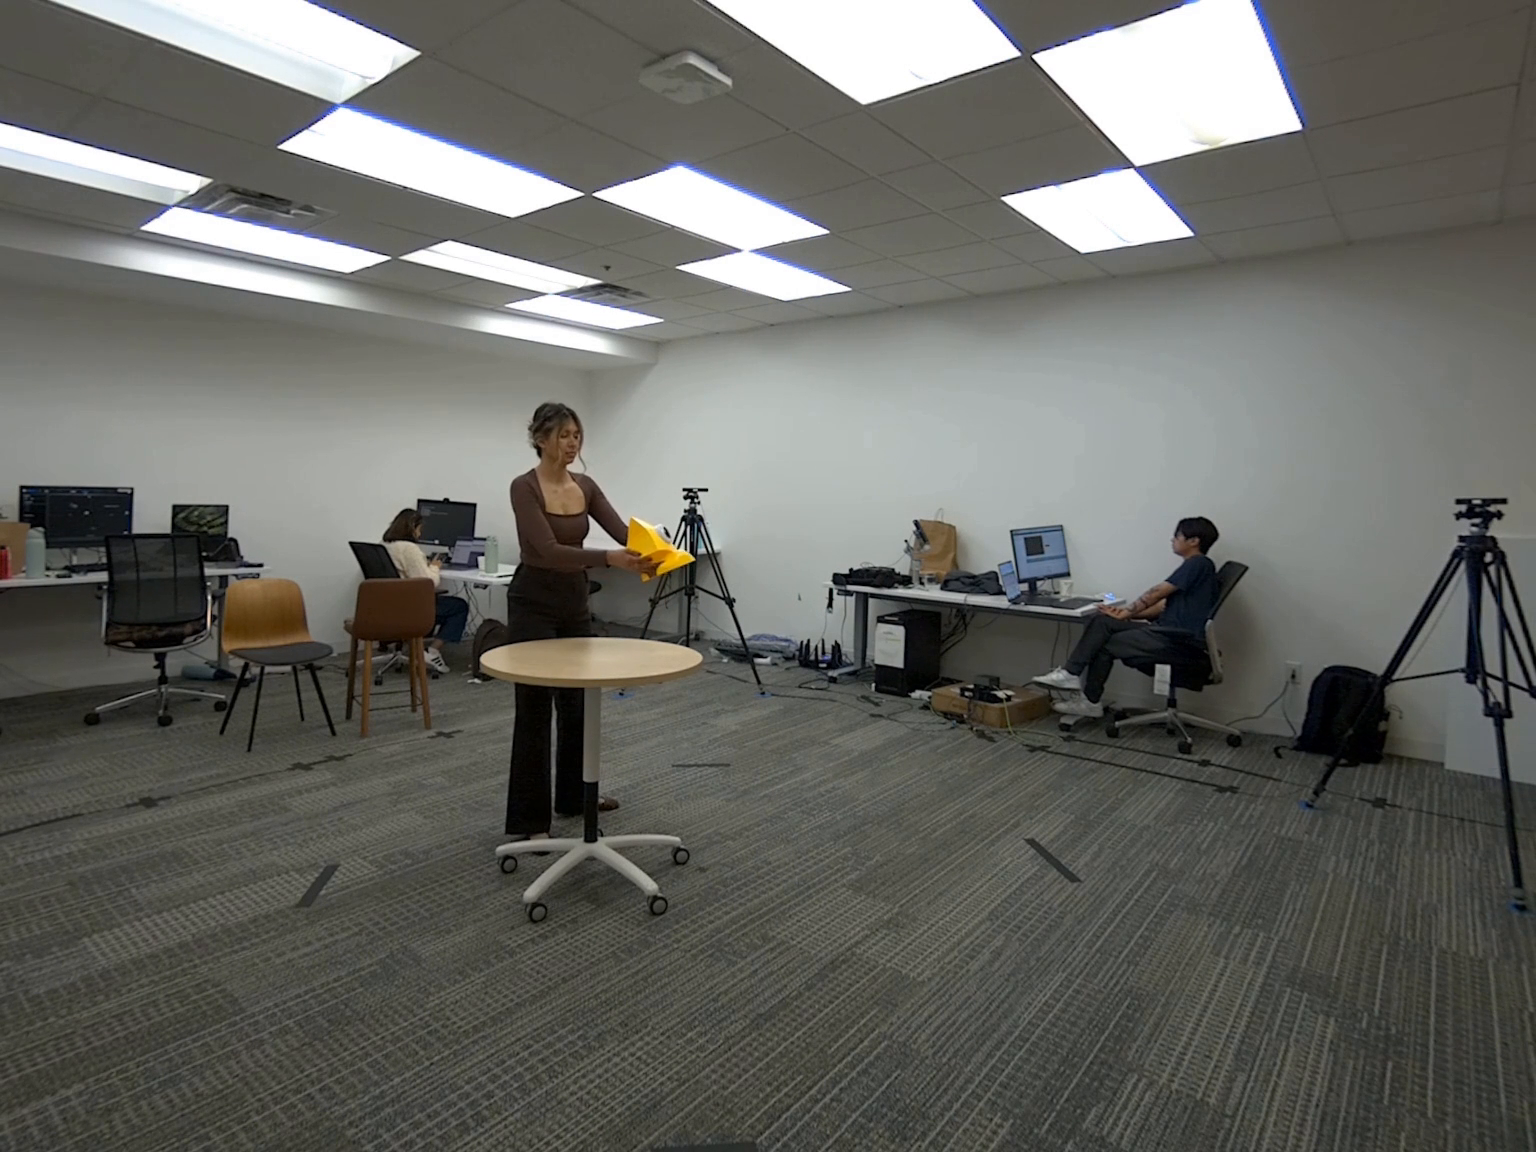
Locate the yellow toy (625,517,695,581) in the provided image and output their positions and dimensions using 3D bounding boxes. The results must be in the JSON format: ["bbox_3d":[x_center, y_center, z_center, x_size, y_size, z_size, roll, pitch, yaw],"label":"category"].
[{"bbox_3d":[-0.419,-0.123,3.072,0.208,0.231,0.189,-21,0,42],"label":"yellow toy"}]
